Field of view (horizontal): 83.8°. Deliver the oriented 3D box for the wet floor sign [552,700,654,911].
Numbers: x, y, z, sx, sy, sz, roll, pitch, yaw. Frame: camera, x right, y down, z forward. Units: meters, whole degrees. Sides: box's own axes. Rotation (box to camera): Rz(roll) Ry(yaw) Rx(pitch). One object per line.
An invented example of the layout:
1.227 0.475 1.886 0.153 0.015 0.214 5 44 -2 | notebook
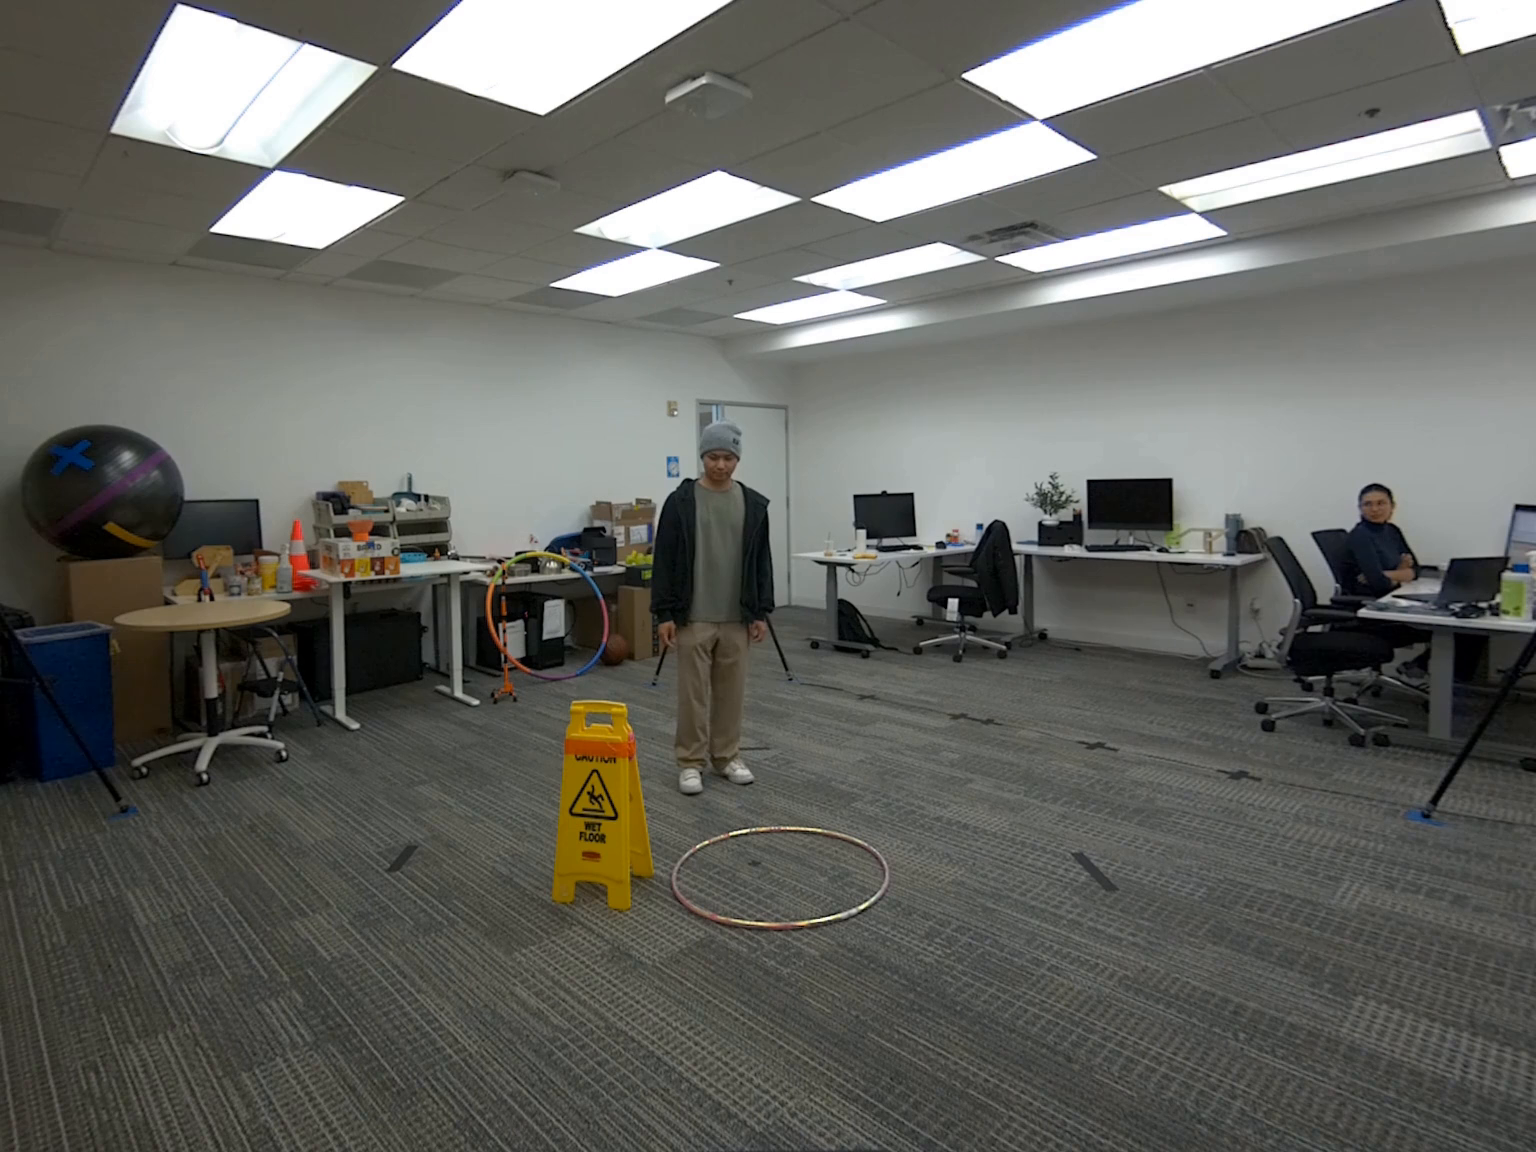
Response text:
-0.567 0.755 2.912 0.286 0.643 0.287 1 5 13 | wet floor sign
